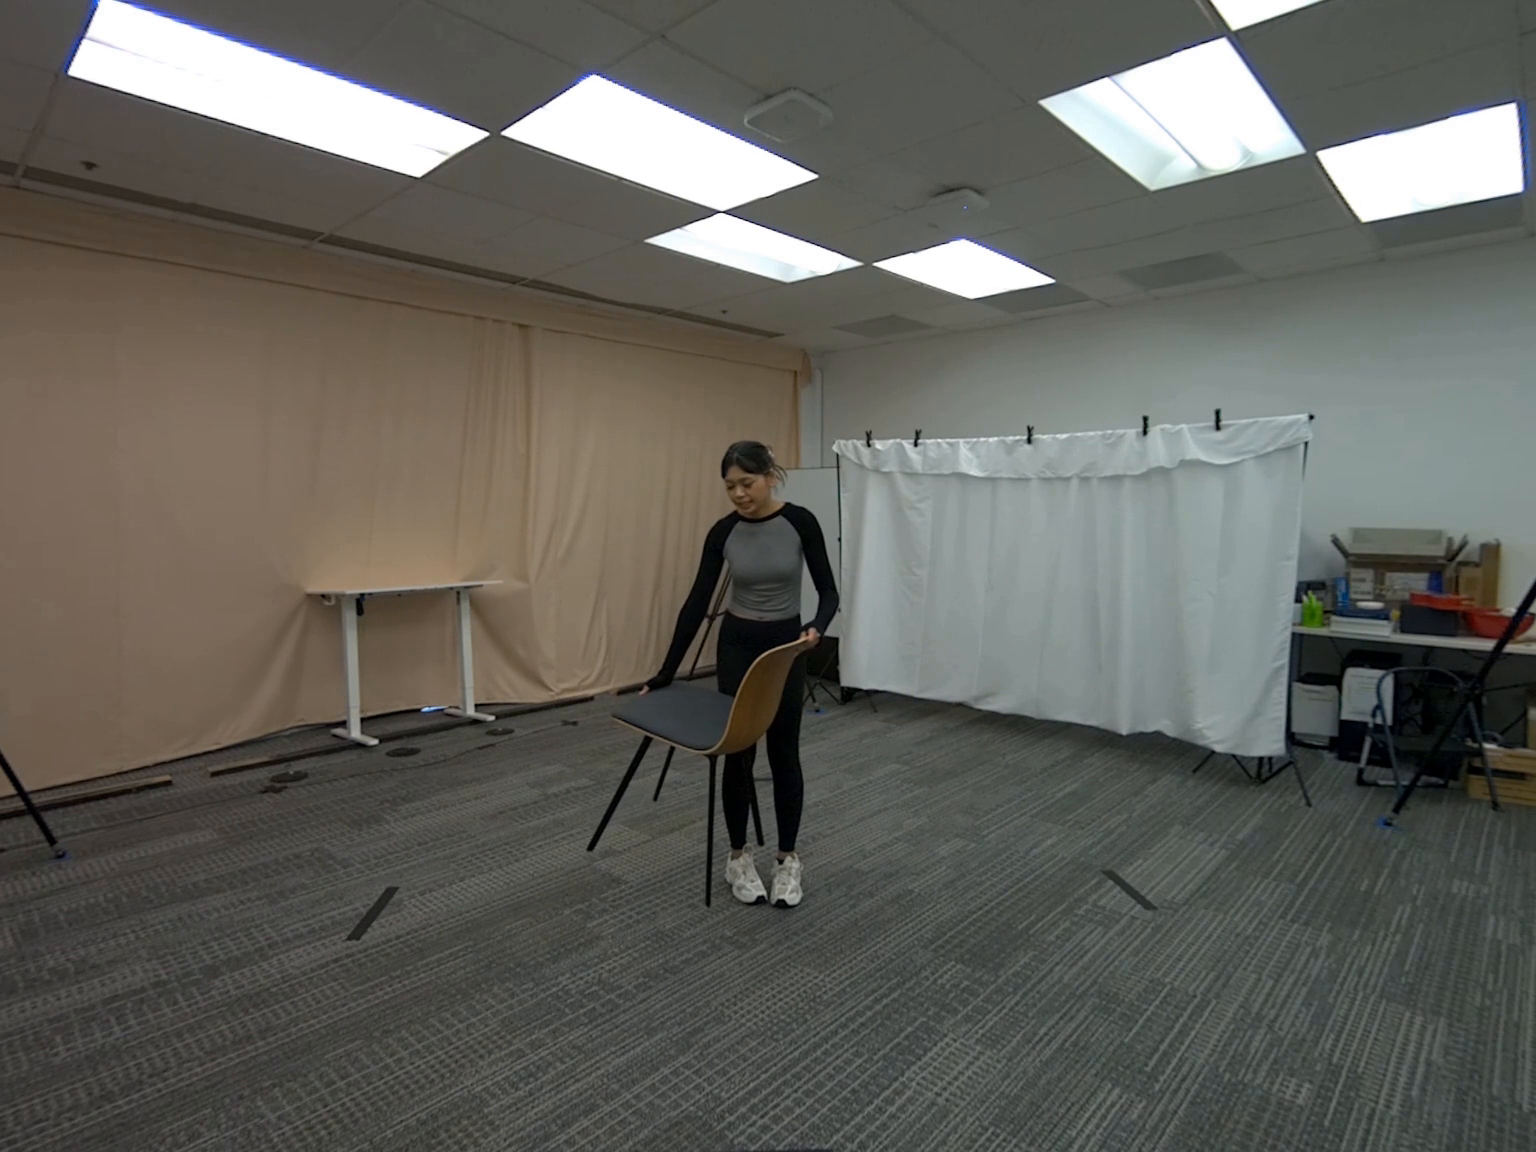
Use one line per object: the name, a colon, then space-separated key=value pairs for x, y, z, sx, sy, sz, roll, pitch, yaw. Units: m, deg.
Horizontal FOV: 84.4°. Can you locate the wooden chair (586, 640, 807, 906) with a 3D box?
wooden chair: x=-0.230 y=0.523 z=2.771 sx=0.537 sy=0.873 sz=0.468 roll=20 pitch=15 yaw=22
